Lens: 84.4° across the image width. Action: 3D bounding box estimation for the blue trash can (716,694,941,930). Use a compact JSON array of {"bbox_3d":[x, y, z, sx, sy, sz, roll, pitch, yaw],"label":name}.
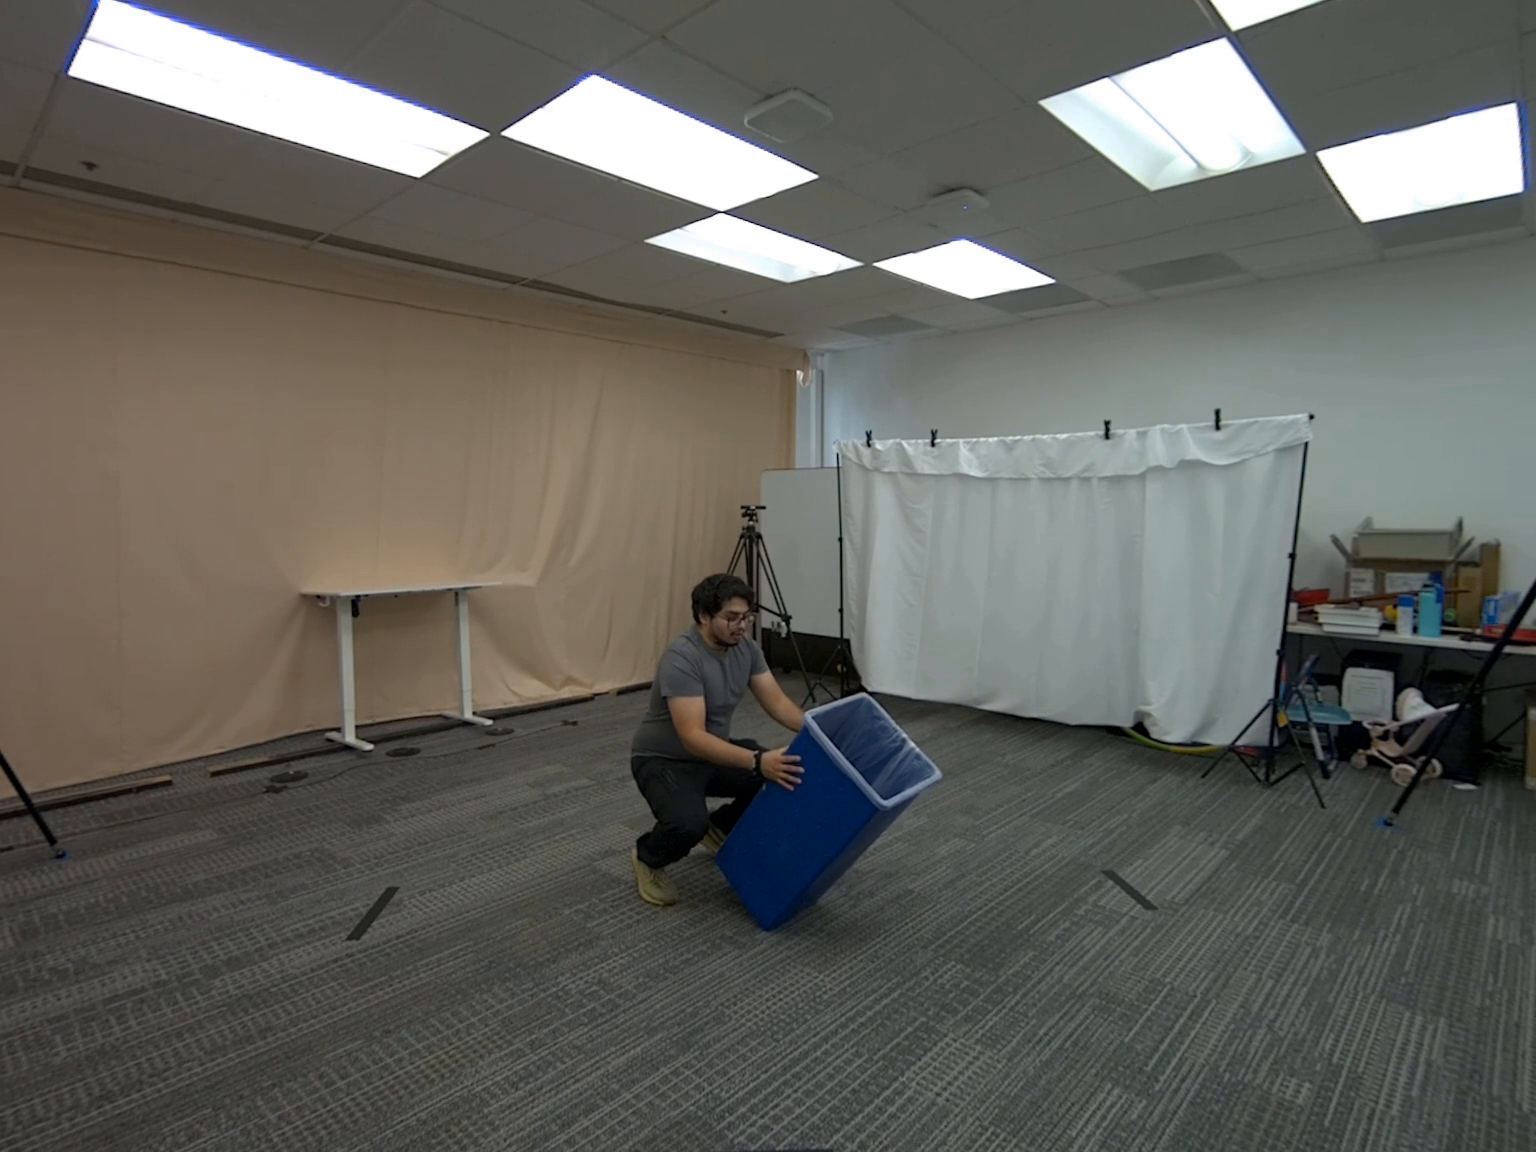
[{"bbox_3d":[0.170,0.791,2.756,0.363,0.714,0.389,-5,45,-50],"label":"blue trash can"}]
